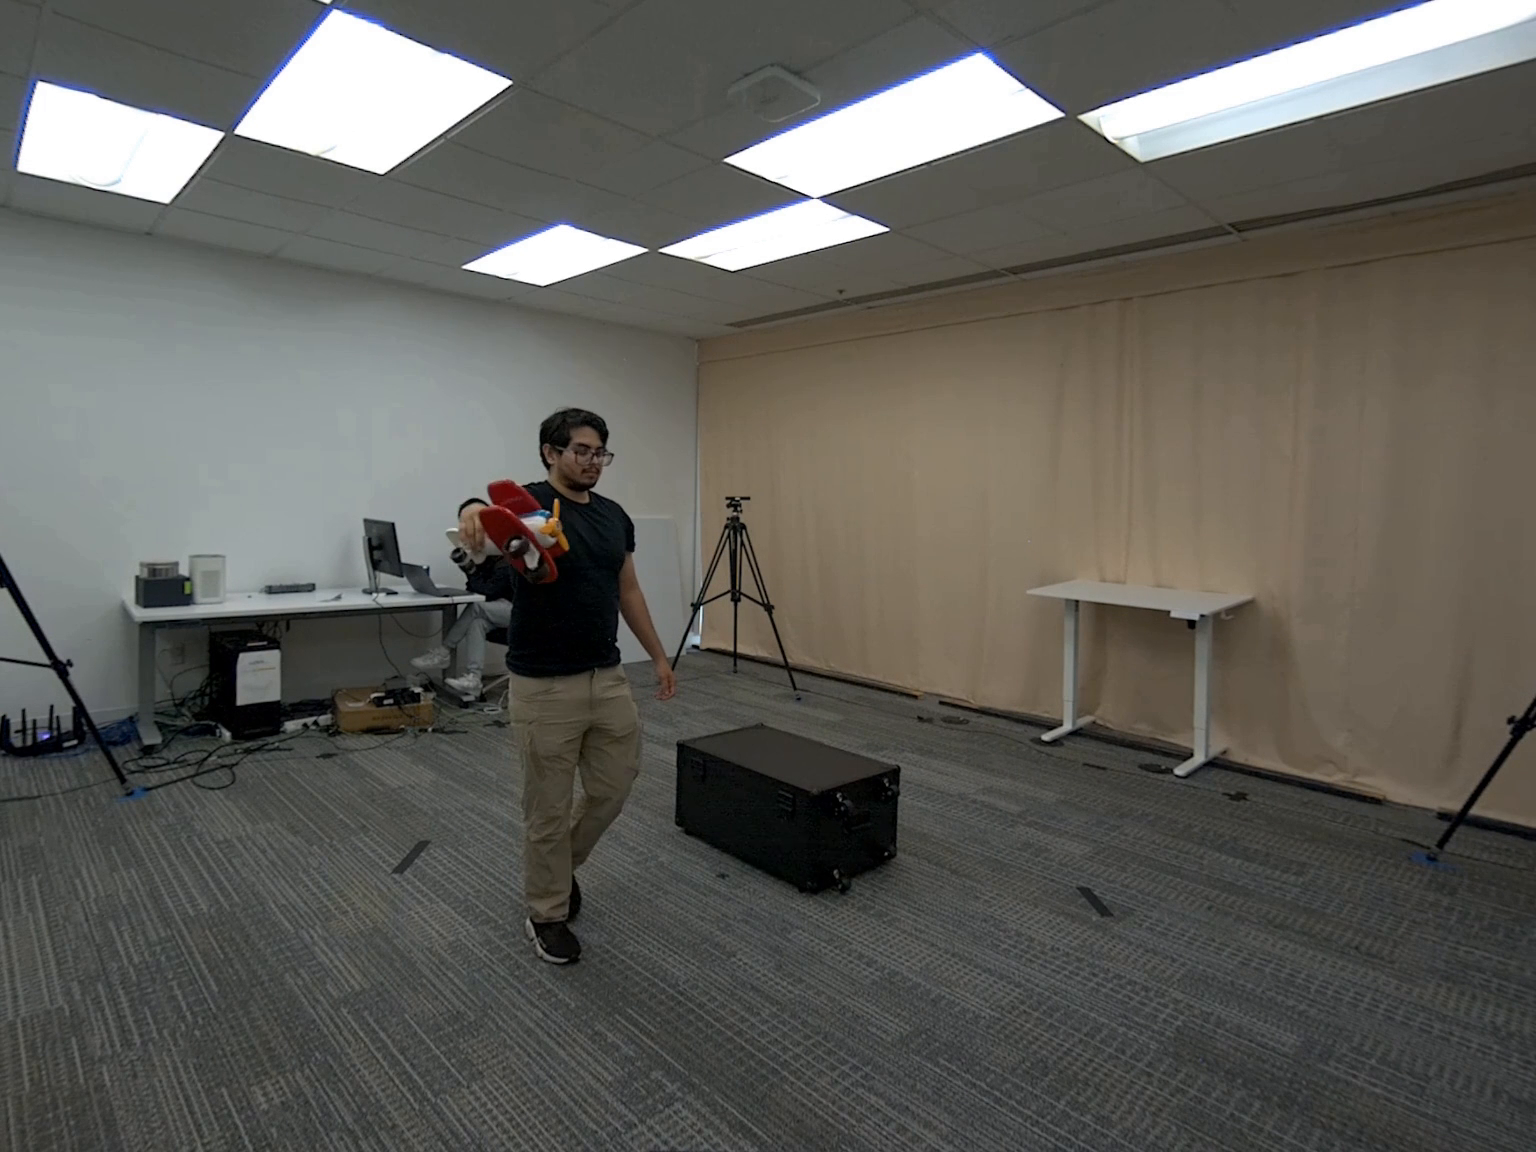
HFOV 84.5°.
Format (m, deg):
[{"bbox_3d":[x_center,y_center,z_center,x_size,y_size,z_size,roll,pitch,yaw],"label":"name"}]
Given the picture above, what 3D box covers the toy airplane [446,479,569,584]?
[{"bbox_3d":[-0.600,-0.088,1.863,0.260,0.158,0.247,19,-35,2],"label":"toy airplane"}]
